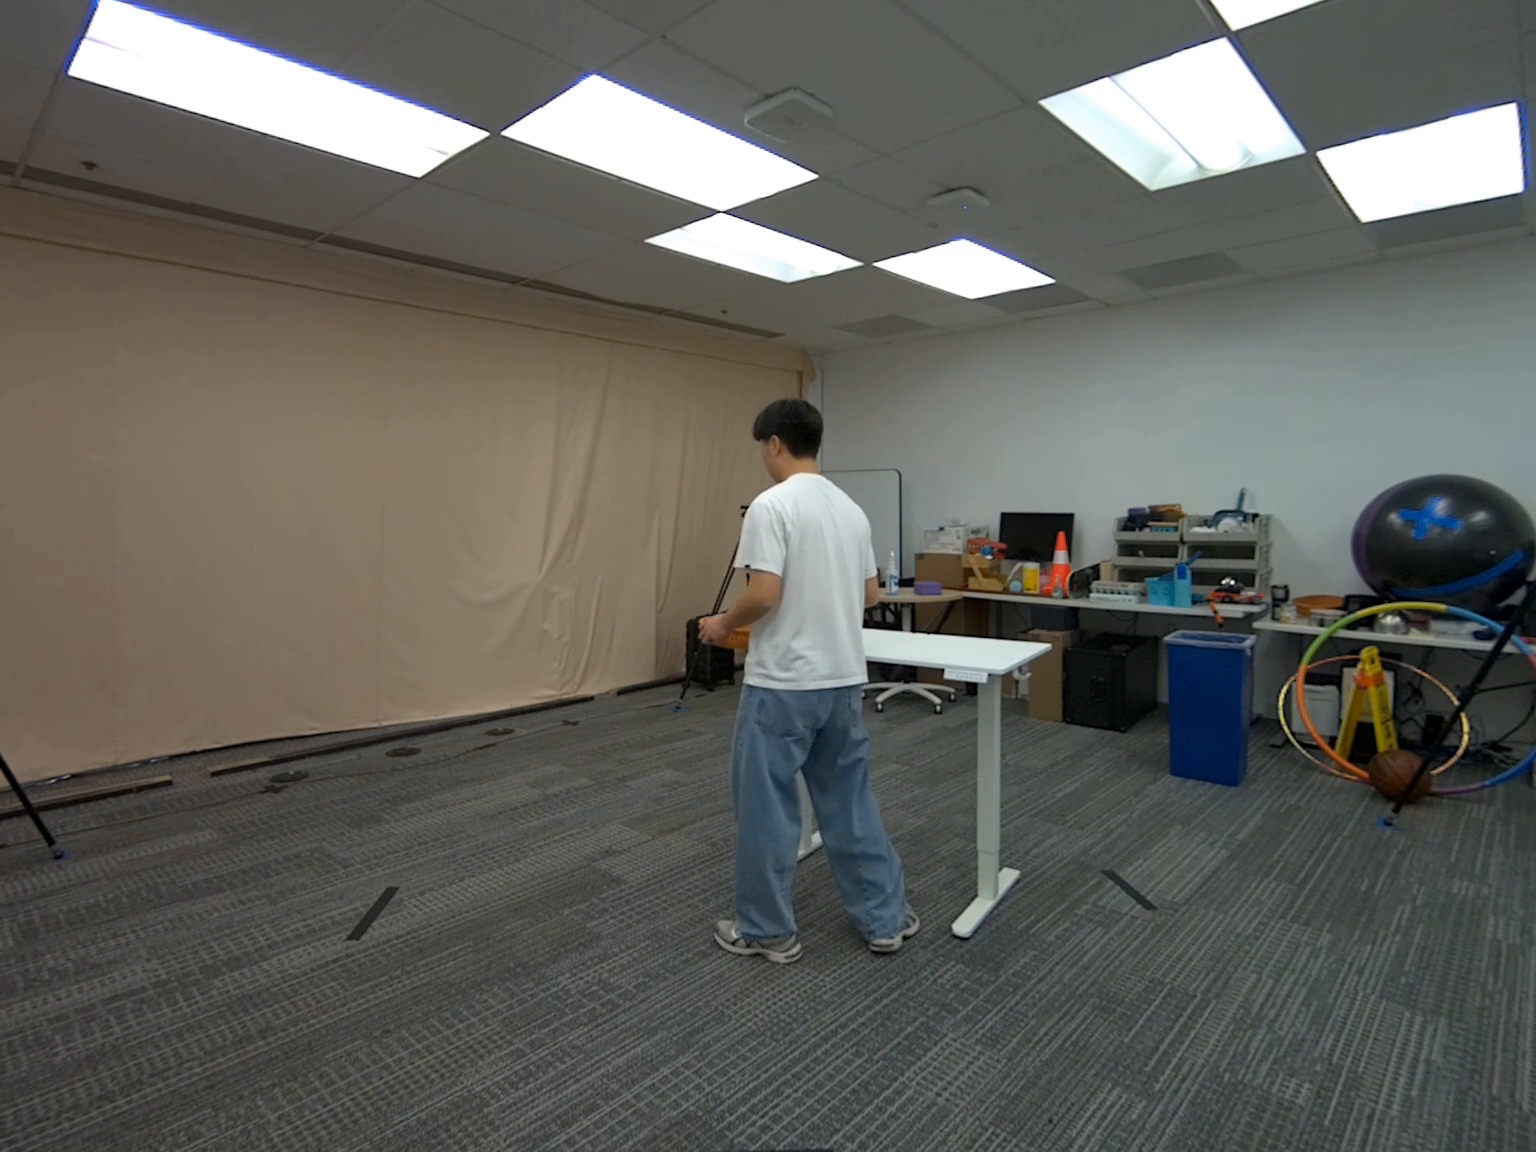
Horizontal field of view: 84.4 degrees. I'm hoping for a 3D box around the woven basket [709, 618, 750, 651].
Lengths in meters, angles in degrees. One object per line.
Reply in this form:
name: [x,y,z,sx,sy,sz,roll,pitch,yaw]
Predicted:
woven basket: [-0.048,0.192,2.825,0.340,0.073,0.261,-1,8,-37]
